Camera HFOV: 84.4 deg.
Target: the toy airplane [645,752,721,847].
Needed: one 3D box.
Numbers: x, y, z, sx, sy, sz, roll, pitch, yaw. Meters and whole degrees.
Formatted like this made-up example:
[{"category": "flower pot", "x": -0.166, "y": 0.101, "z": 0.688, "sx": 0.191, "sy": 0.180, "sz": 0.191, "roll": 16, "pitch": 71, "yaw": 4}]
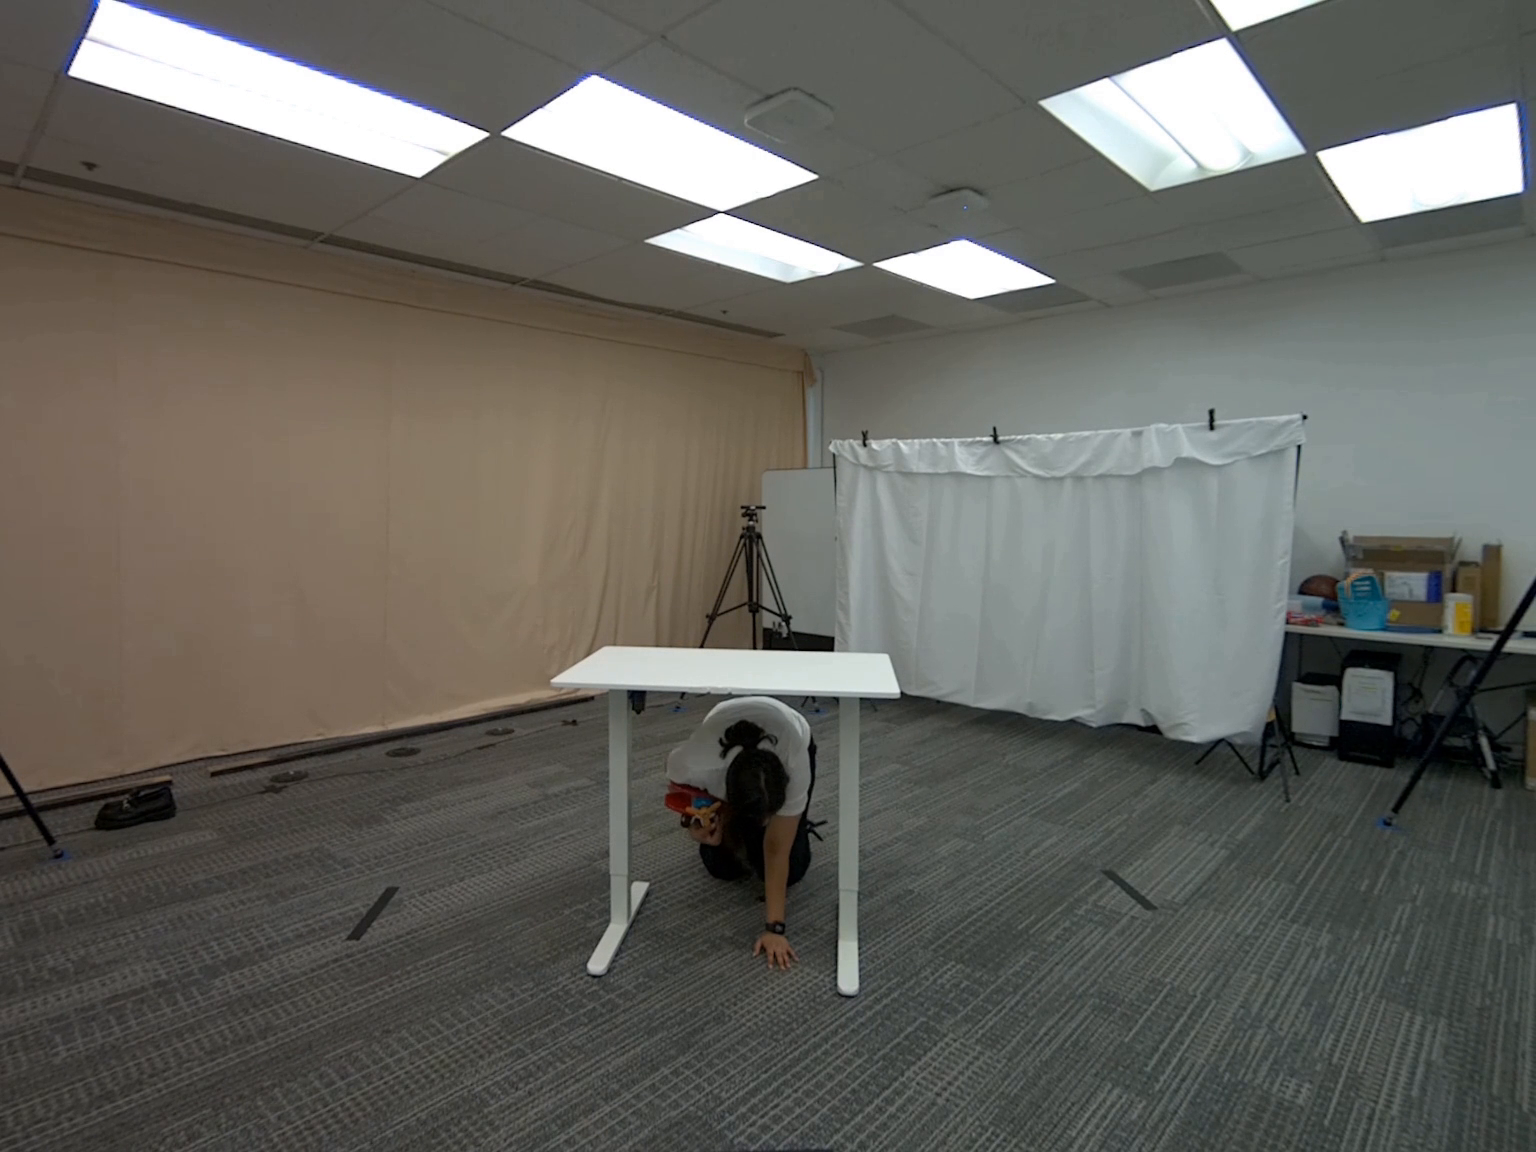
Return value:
[{"category": "toy airplane", "x": -0.238, "y": 0.737, "z": 2.915, "sx": 0.244, "sy": 0.155, "sz": 0.268, "roll": -9, "pitch": 44, "yaw": -36}]
